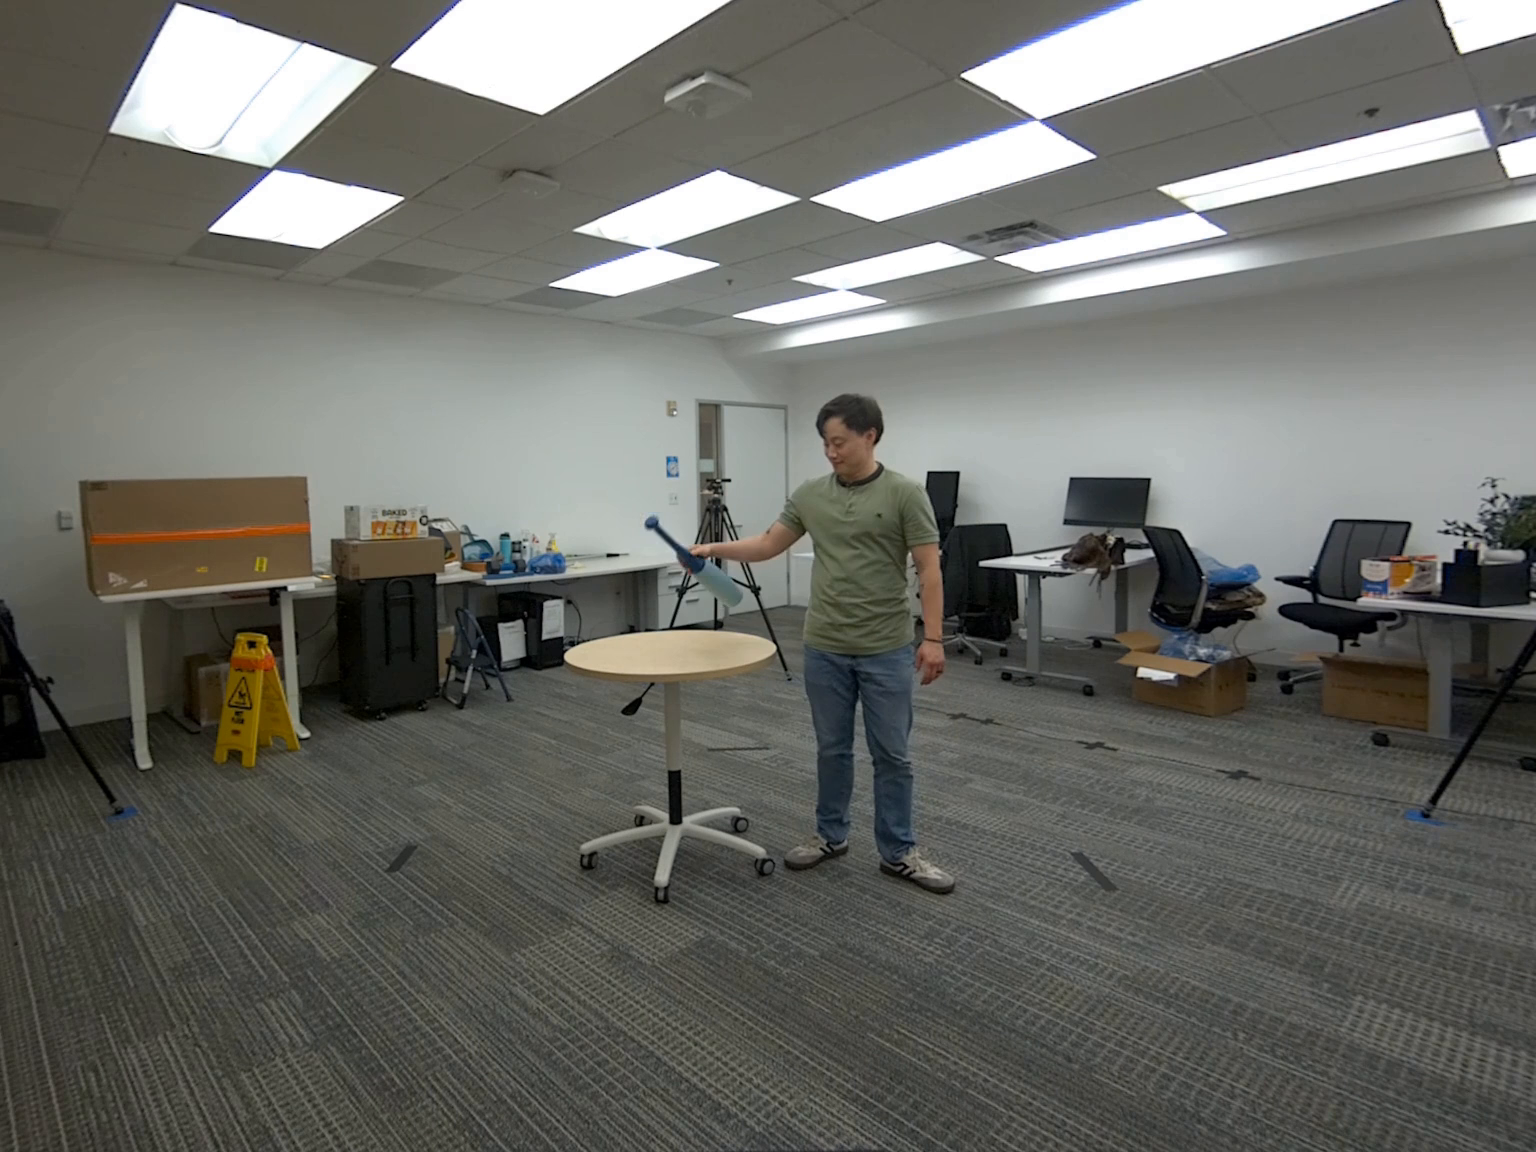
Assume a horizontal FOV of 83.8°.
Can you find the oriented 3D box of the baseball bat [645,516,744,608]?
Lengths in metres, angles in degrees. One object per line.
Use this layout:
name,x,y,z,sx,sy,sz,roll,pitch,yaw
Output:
baseball bat,-0.236,-0.047,2.955,0.091,0.090,0.522,2,-29,35
